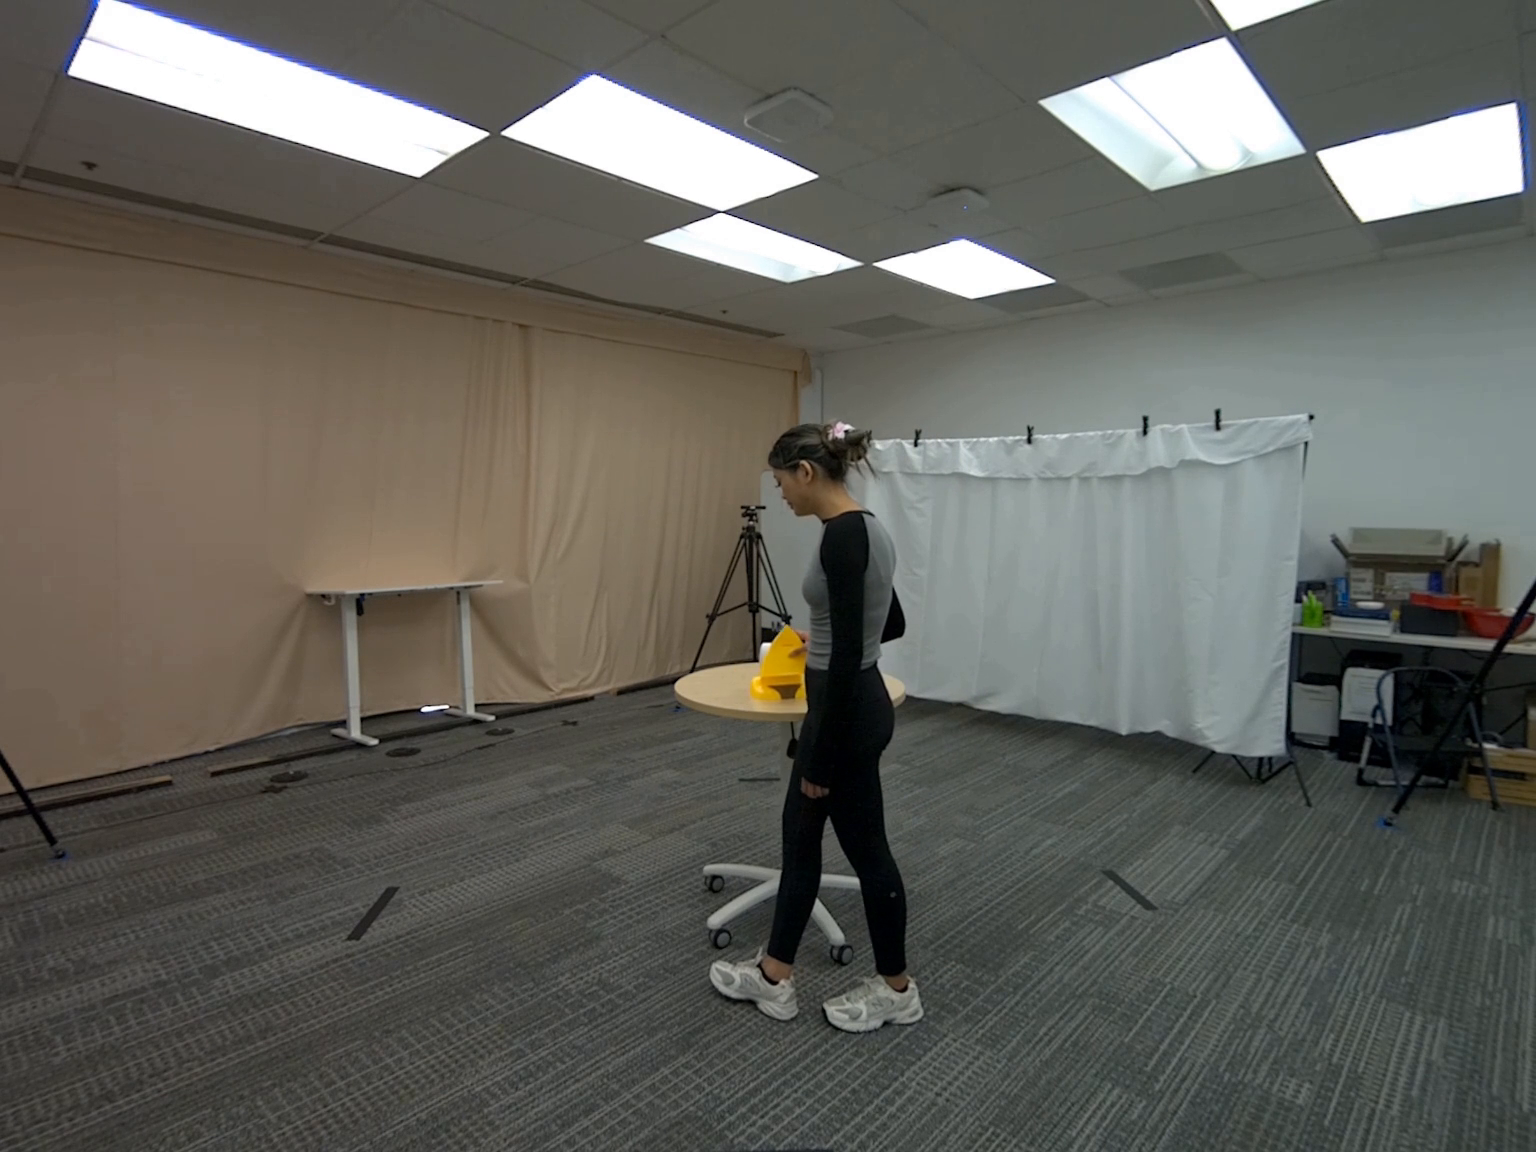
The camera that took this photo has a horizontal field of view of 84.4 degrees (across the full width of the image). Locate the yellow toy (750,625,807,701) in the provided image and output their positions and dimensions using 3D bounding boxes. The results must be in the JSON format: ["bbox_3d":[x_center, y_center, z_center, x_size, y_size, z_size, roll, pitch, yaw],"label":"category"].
[{"bbox_3d":[0.044,0.264,2.676,0.201,0.230,0.197,-2,5,-16],"label":"yellow toy"}]
